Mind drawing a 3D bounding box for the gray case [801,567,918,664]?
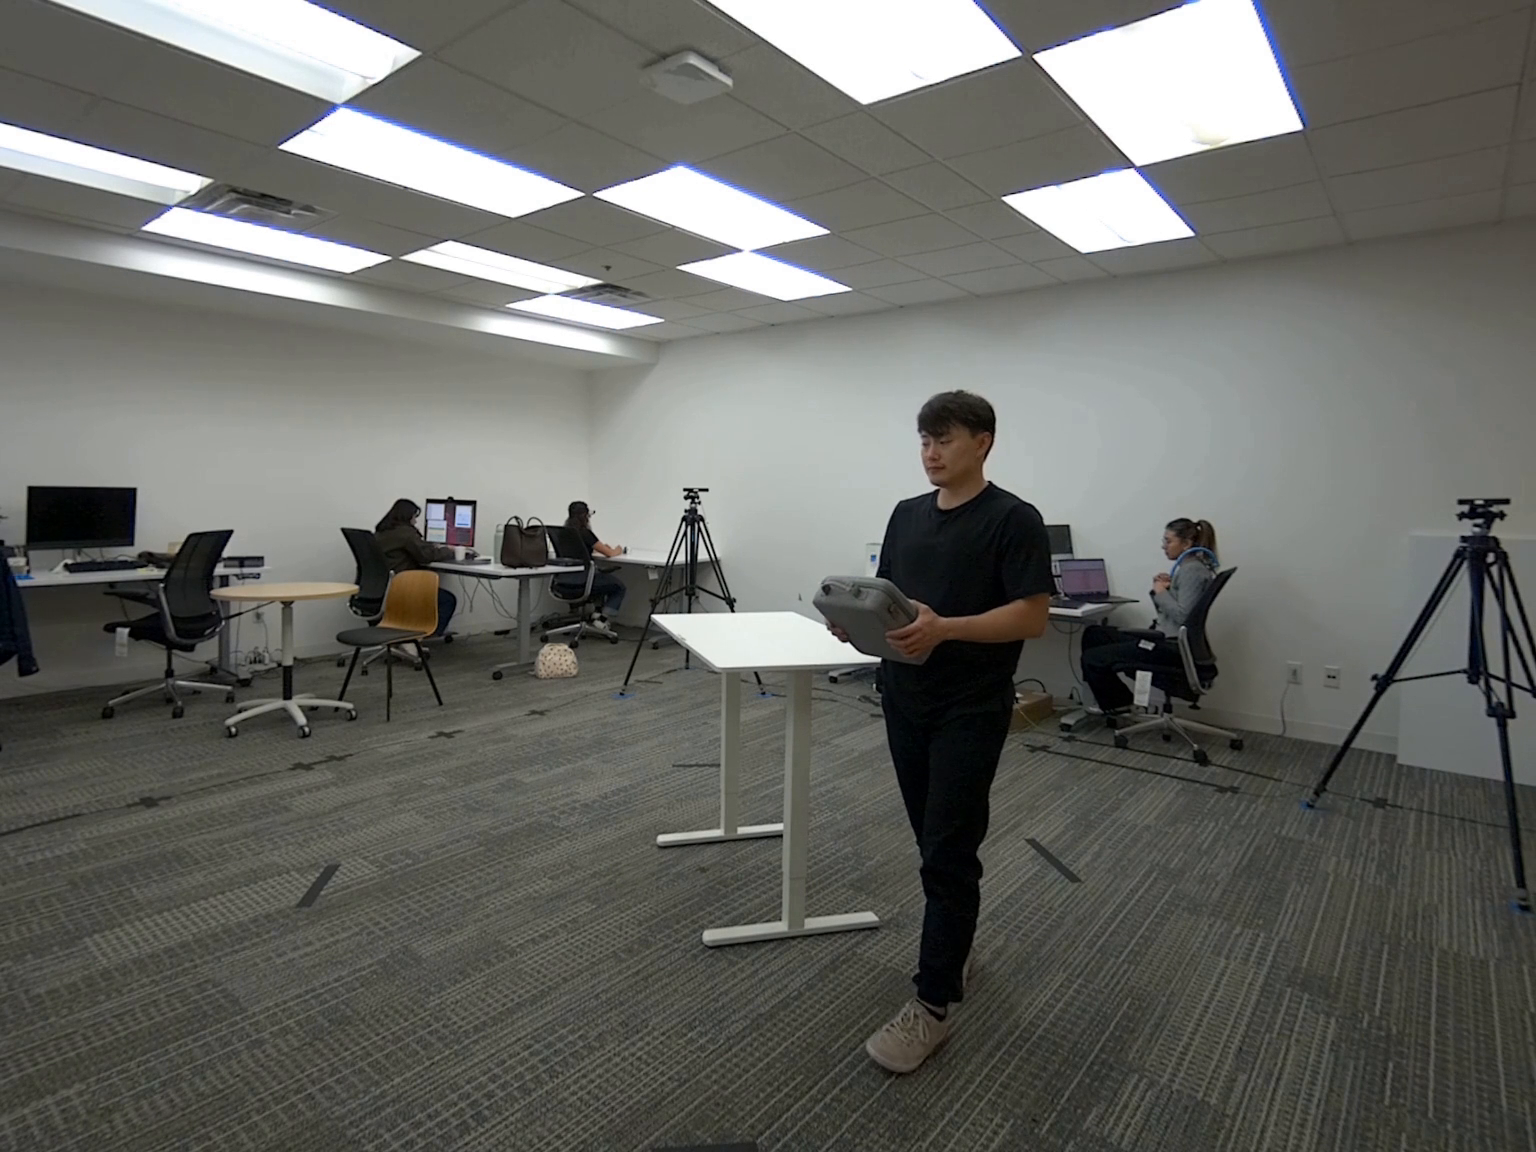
[{"bbox_3d":[0.271,0.105,2.193,0.252,0.104,0.265,45,-21,-26],"label":"gray case"}]
